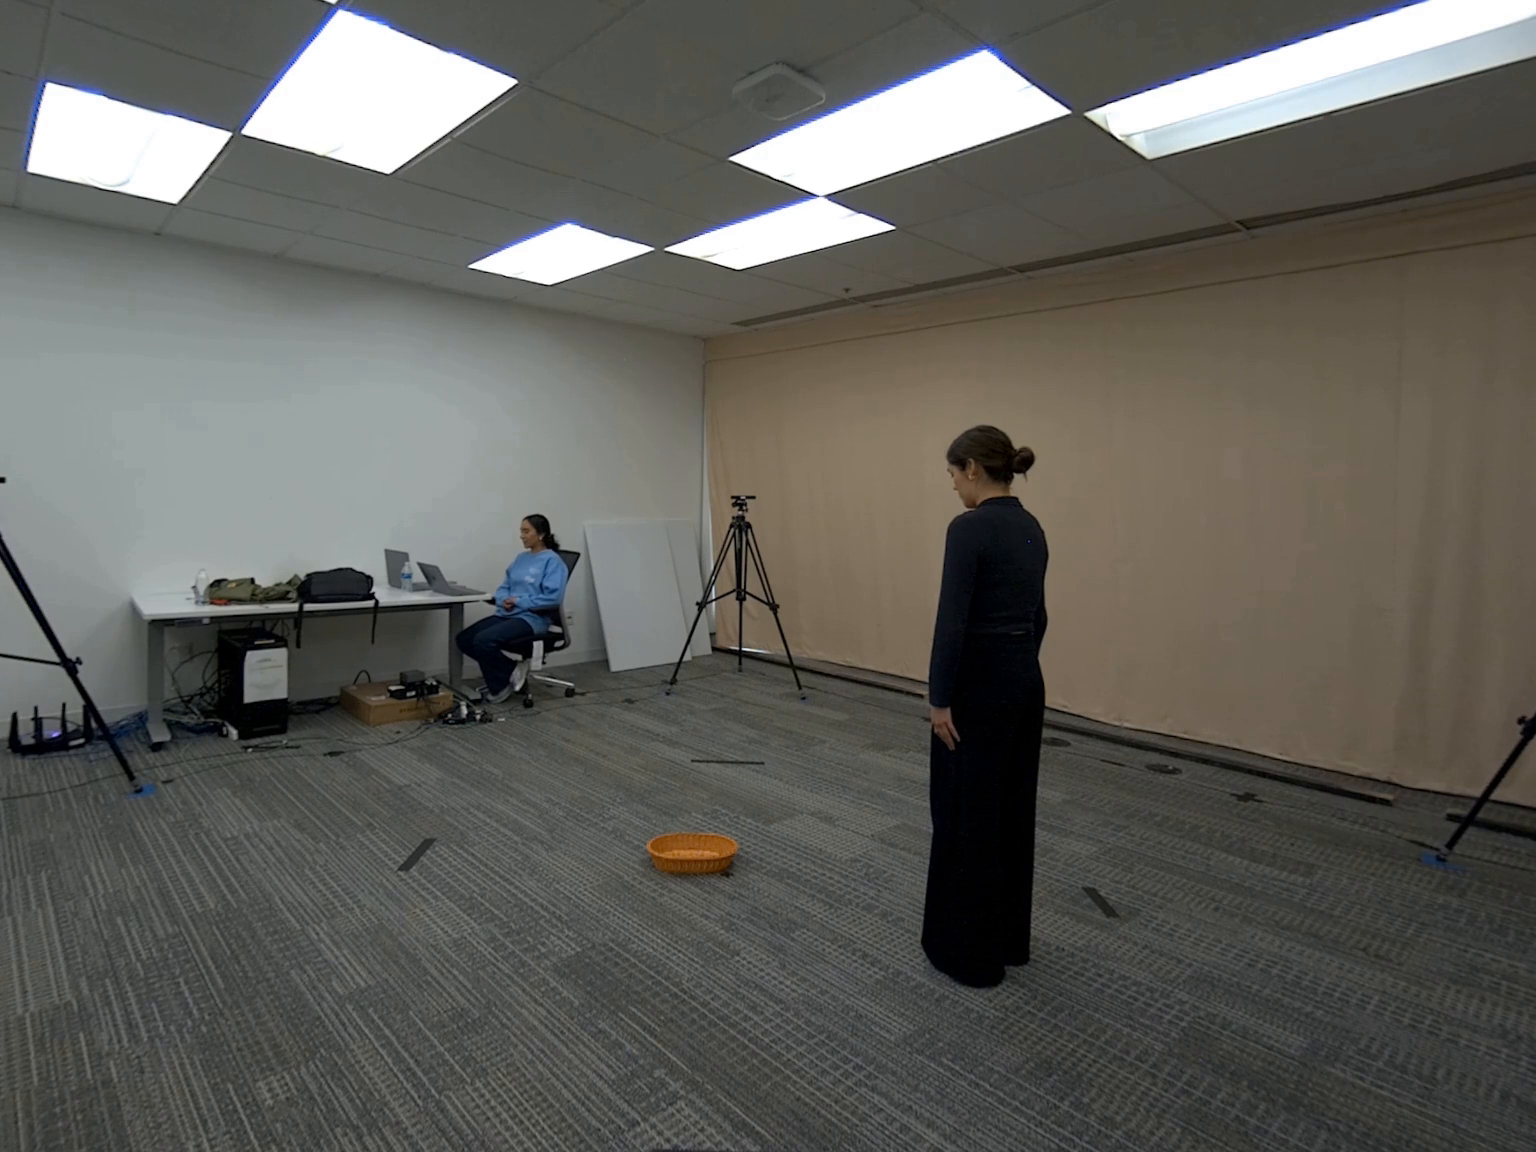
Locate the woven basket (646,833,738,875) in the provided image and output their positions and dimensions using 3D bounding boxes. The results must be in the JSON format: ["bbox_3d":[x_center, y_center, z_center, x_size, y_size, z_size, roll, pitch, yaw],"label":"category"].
[{"bbox_3d":[-0.292,1.051,3.192,0.350,0.073,0.253,1,4,-3],"label":"woven basket"}]
